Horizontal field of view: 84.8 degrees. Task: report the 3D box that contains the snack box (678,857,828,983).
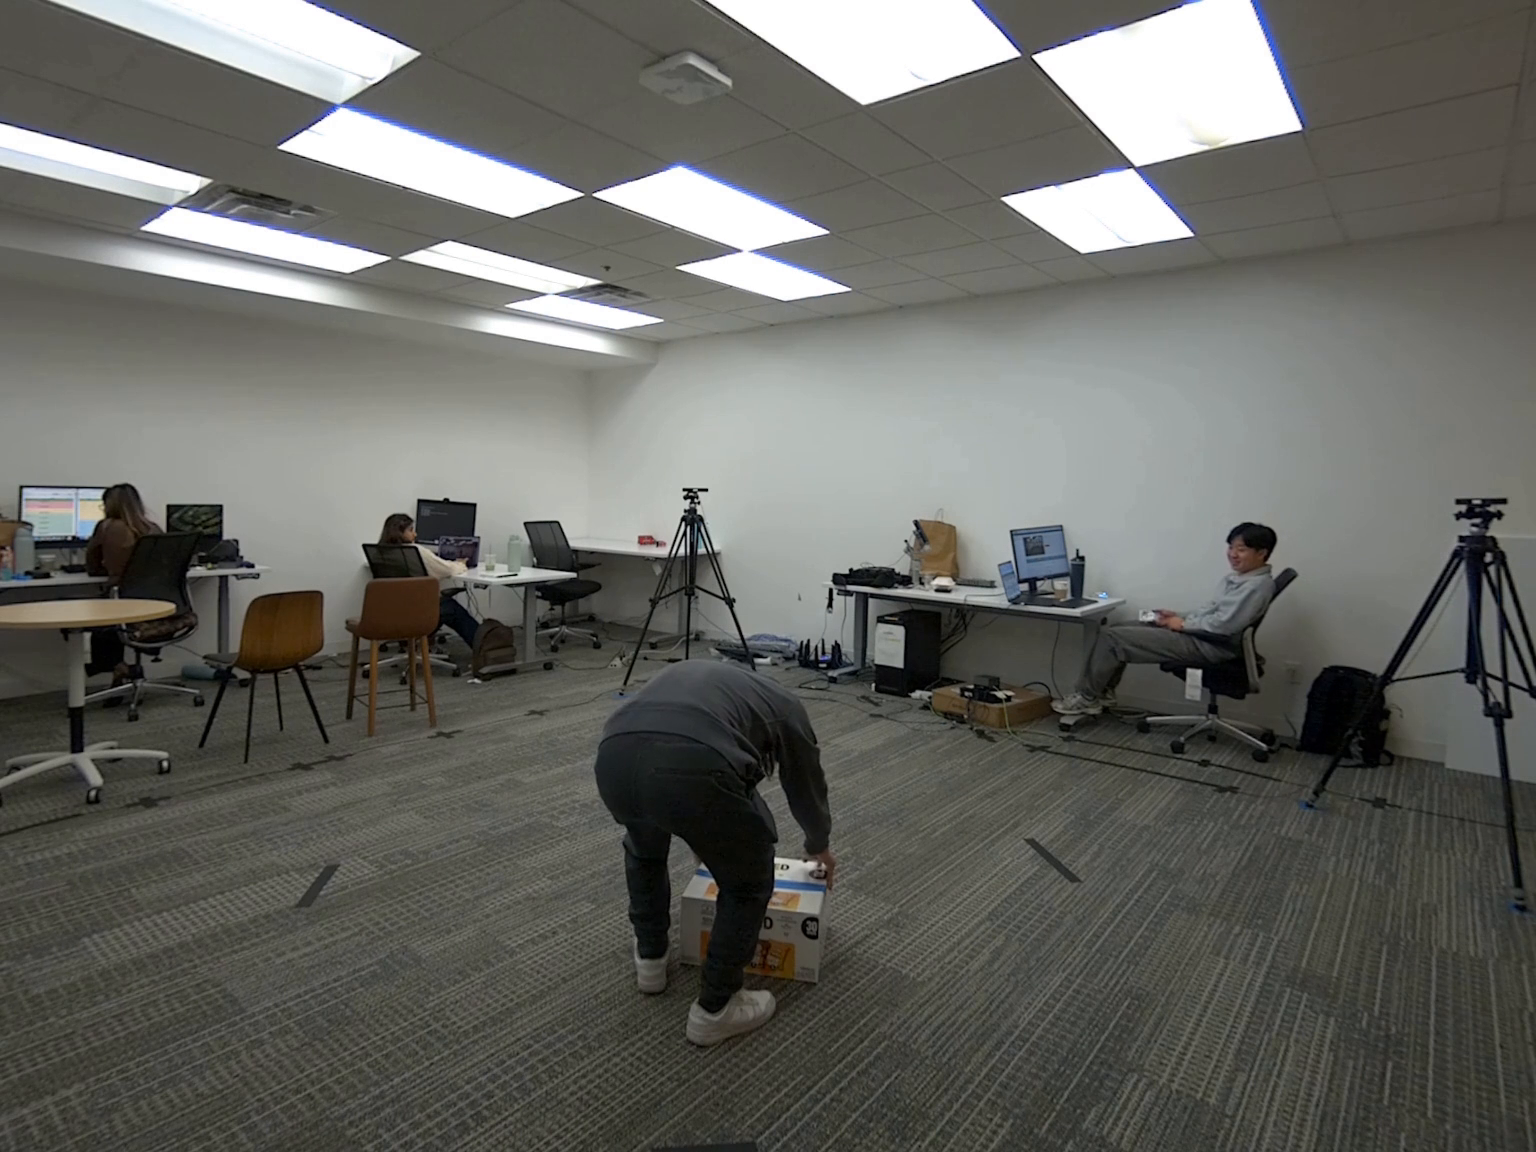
[{"bbox_3d":[-0.036,1.023,2.598,0.411,0.205,0.337,3,5,12],"label":"snack box"}]
